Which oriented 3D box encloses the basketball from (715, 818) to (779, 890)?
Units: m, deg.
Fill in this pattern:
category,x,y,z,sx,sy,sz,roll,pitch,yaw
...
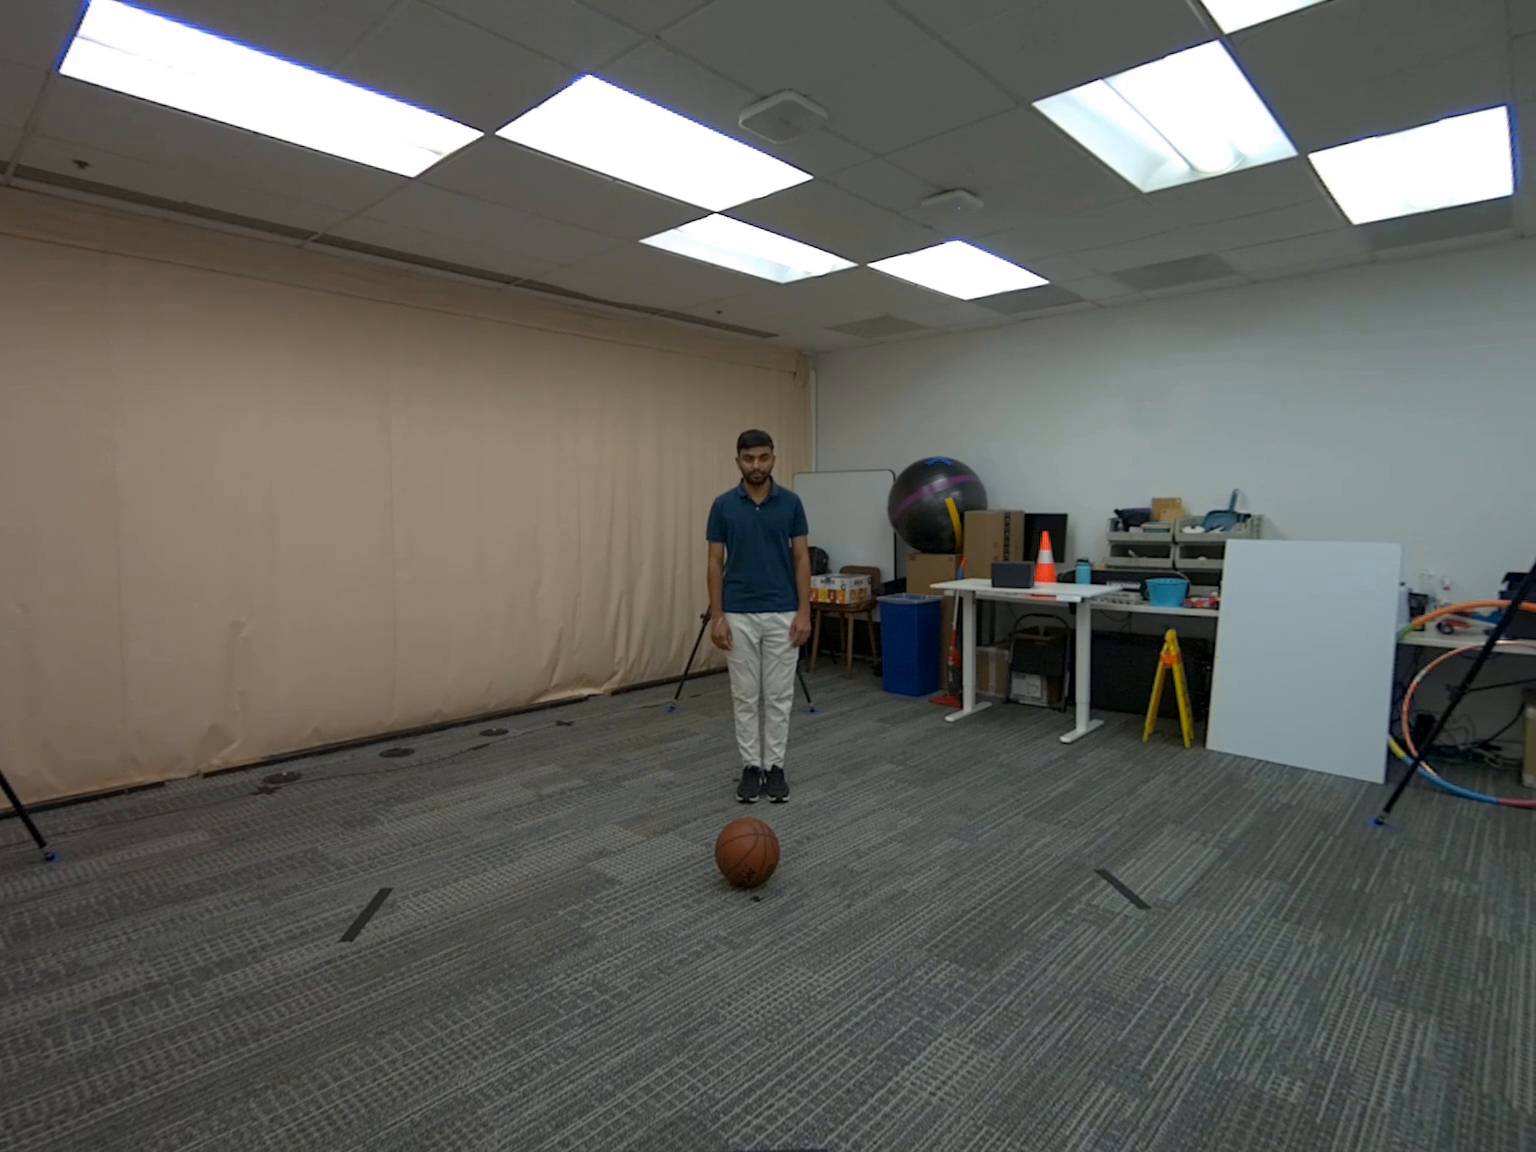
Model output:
category,x,y,z,sx,sy,sz,roll,pitch,yaw
basketball,-0.082,1.009,3.101,0.236,0.235,0.237,0,4,-2
